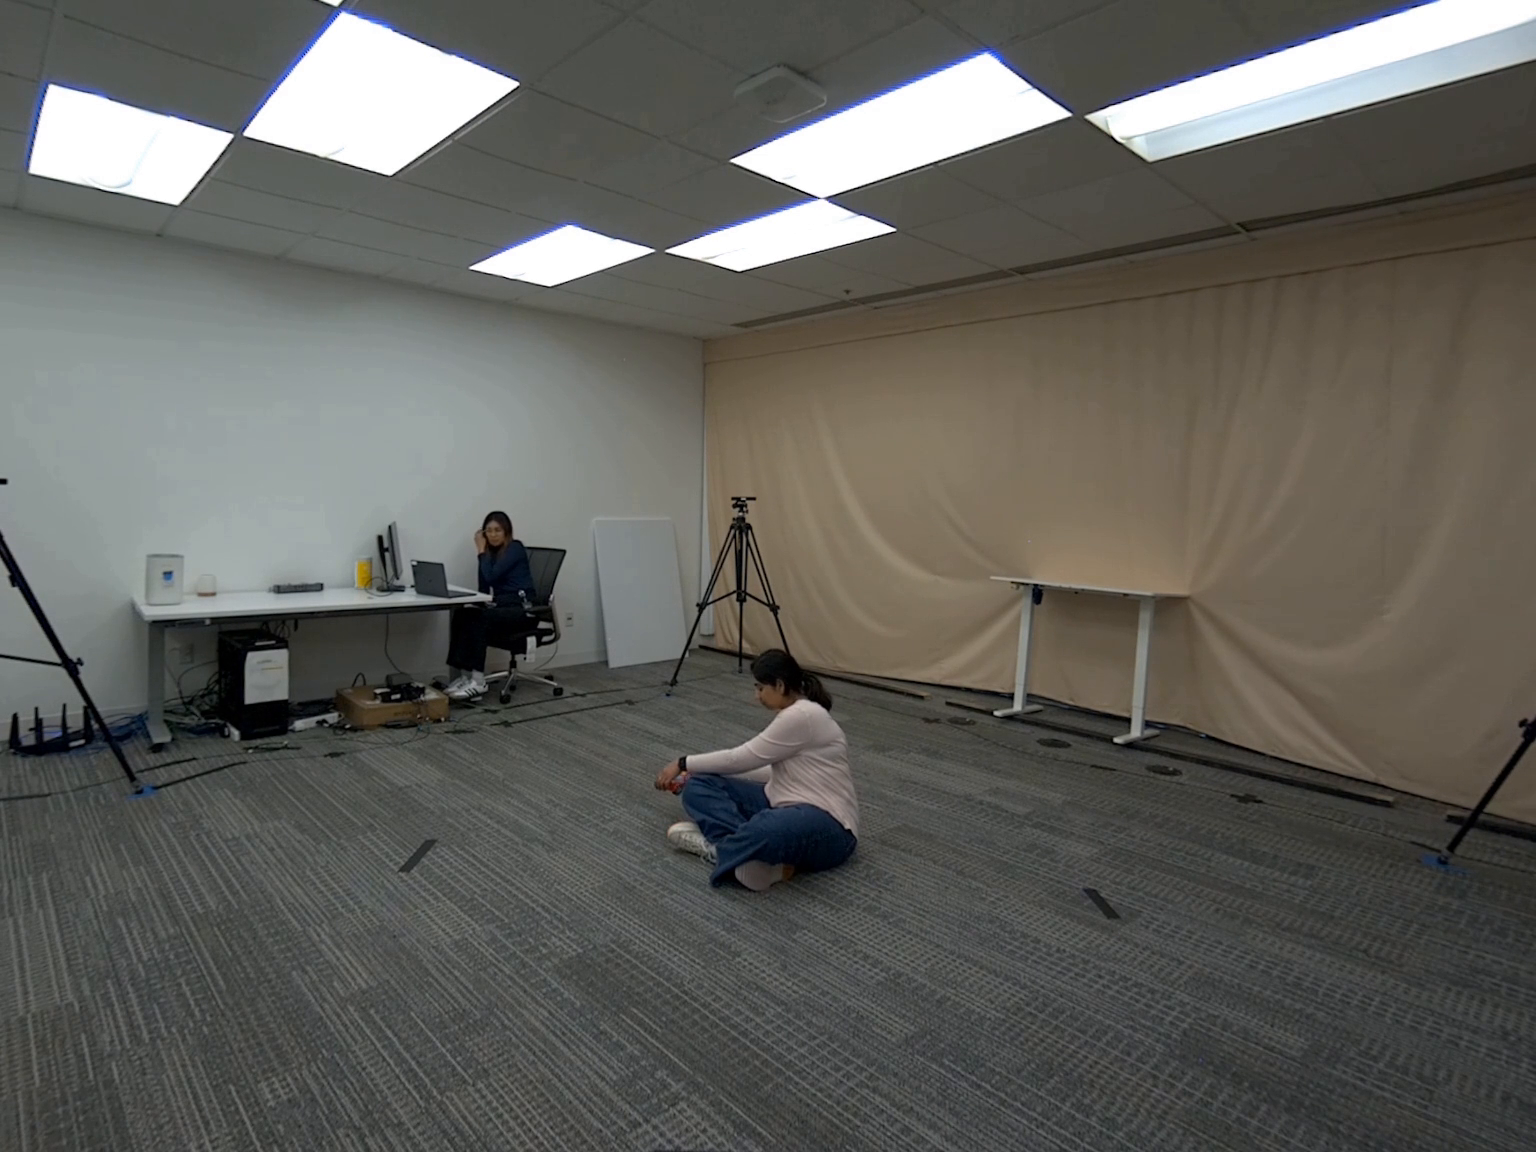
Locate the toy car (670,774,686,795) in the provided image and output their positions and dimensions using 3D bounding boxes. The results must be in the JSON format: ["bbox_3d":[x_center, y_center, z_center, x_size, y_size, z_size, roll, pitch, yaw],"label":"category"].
[{"bbox_3d":[-0.368,0.874,3.612,0.133,0.082,0.251,7,14,30],"label":"toy car"}]
